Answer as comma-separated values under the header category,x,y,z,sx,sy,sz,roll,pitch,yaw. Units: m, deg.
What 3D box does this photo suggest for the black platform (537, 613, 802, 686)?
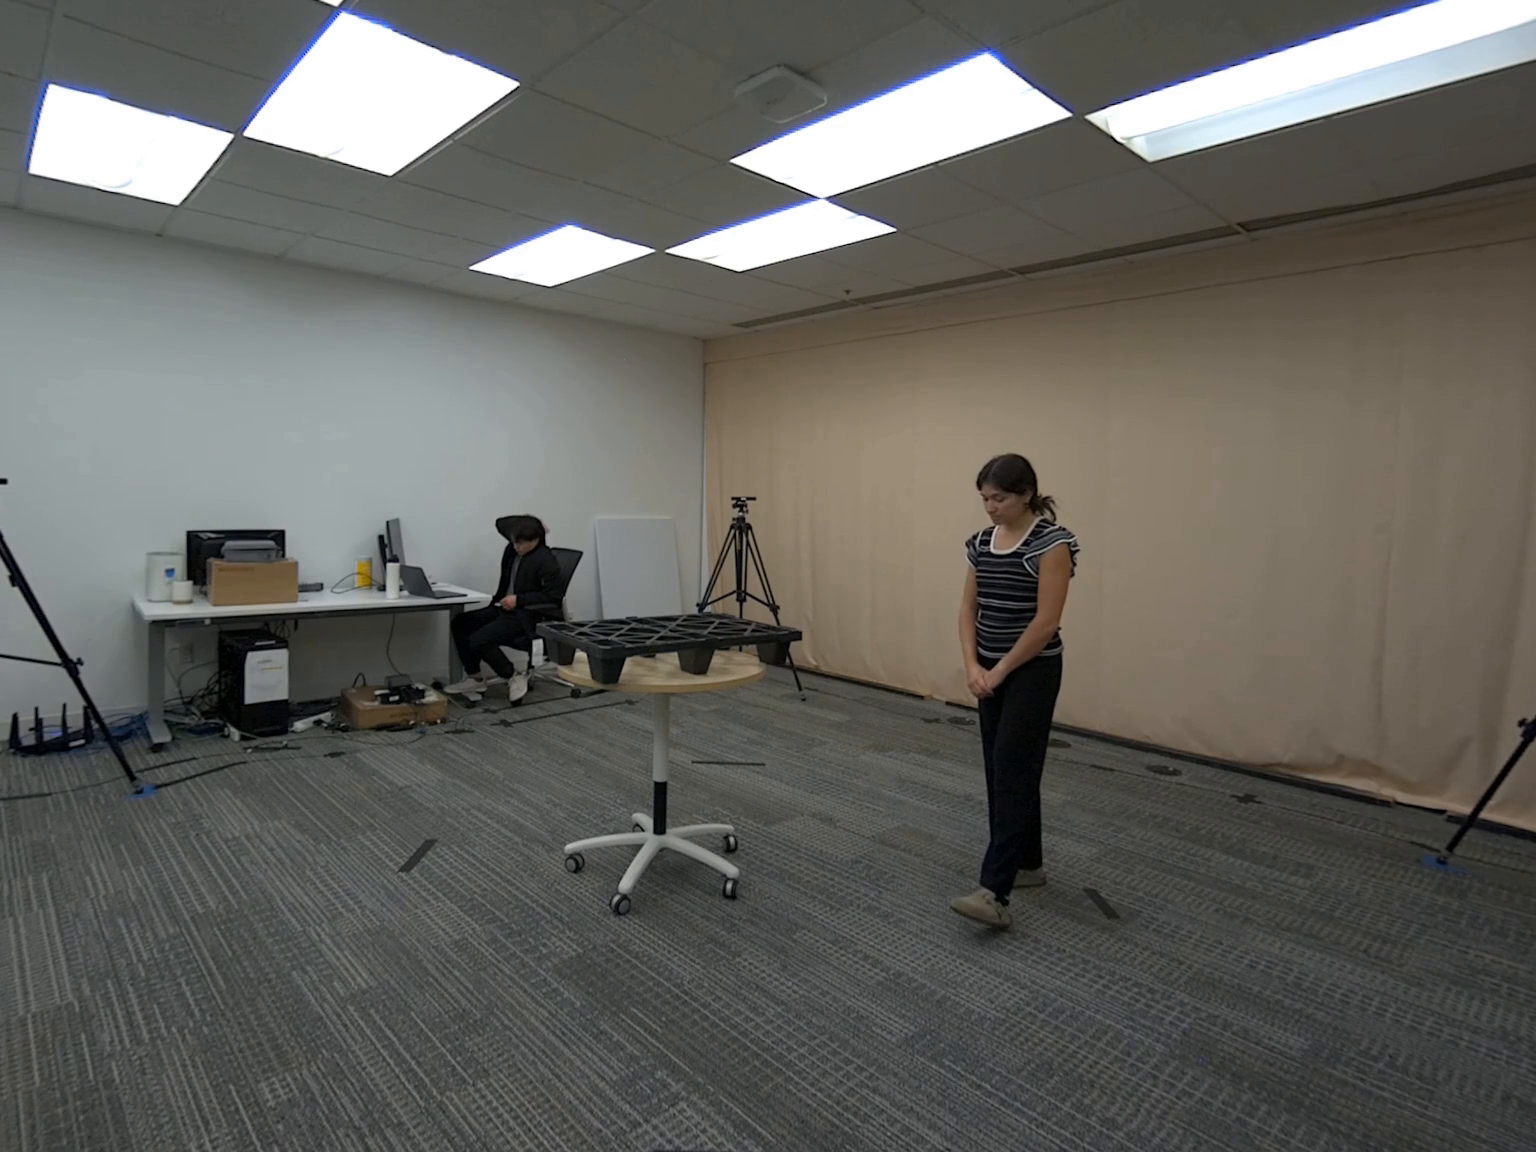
category,x,y,z,sx,sy,sz,roll,pitch,yaw
black platform,-0.376,0.258,3.080,0.788,0.143,0.619,-1,5,-34
